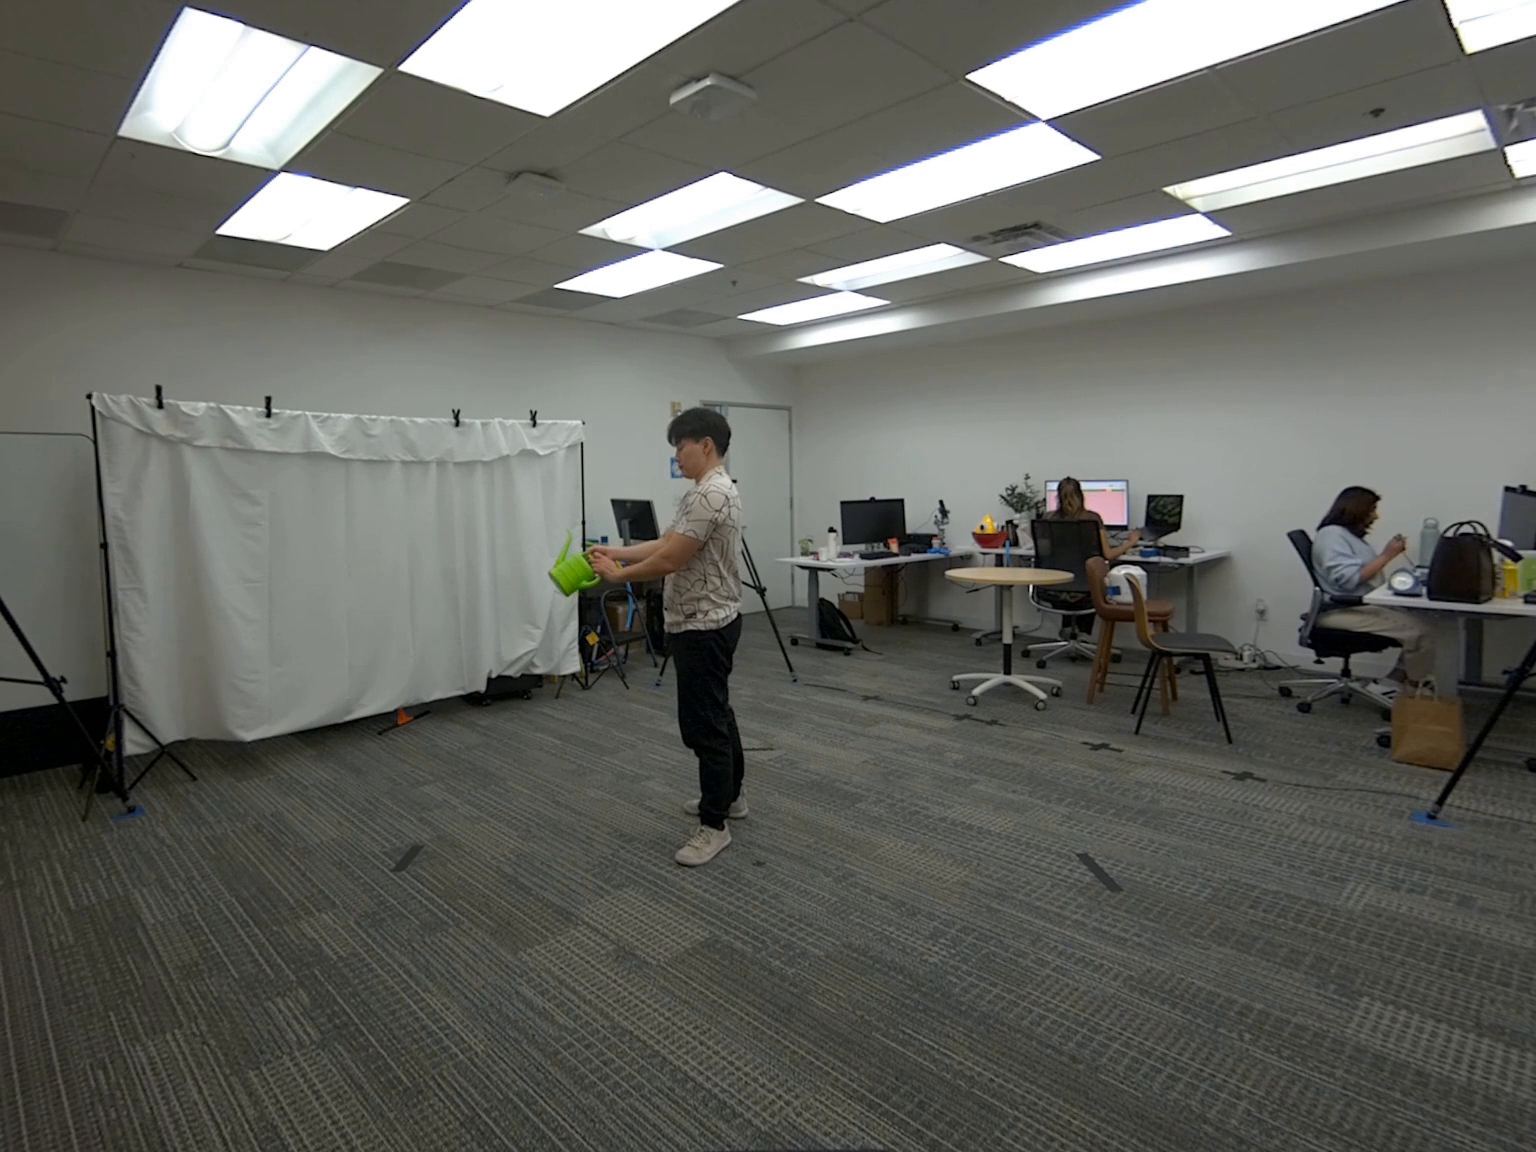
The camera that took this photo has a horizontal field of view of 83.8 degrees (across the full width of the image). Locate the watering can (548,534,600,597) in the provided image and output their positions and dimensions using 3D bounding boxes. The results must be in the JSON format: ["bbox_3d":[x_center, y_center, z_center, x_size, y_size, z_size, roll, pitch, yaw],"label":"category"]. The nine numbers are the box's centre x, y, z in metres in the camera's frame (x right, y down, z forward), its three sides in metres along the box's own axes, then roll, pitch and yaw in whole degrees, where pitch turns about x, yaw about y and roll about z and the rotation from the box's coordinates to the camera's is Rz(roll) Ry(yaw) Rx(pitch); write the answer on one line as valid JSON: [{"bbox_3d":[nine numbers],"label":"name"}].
[{"bbox_3d":[-0.755,-0.038,3.283,0.176,0.095,0.289,-35,48,-17],"label":"watering can"}]
